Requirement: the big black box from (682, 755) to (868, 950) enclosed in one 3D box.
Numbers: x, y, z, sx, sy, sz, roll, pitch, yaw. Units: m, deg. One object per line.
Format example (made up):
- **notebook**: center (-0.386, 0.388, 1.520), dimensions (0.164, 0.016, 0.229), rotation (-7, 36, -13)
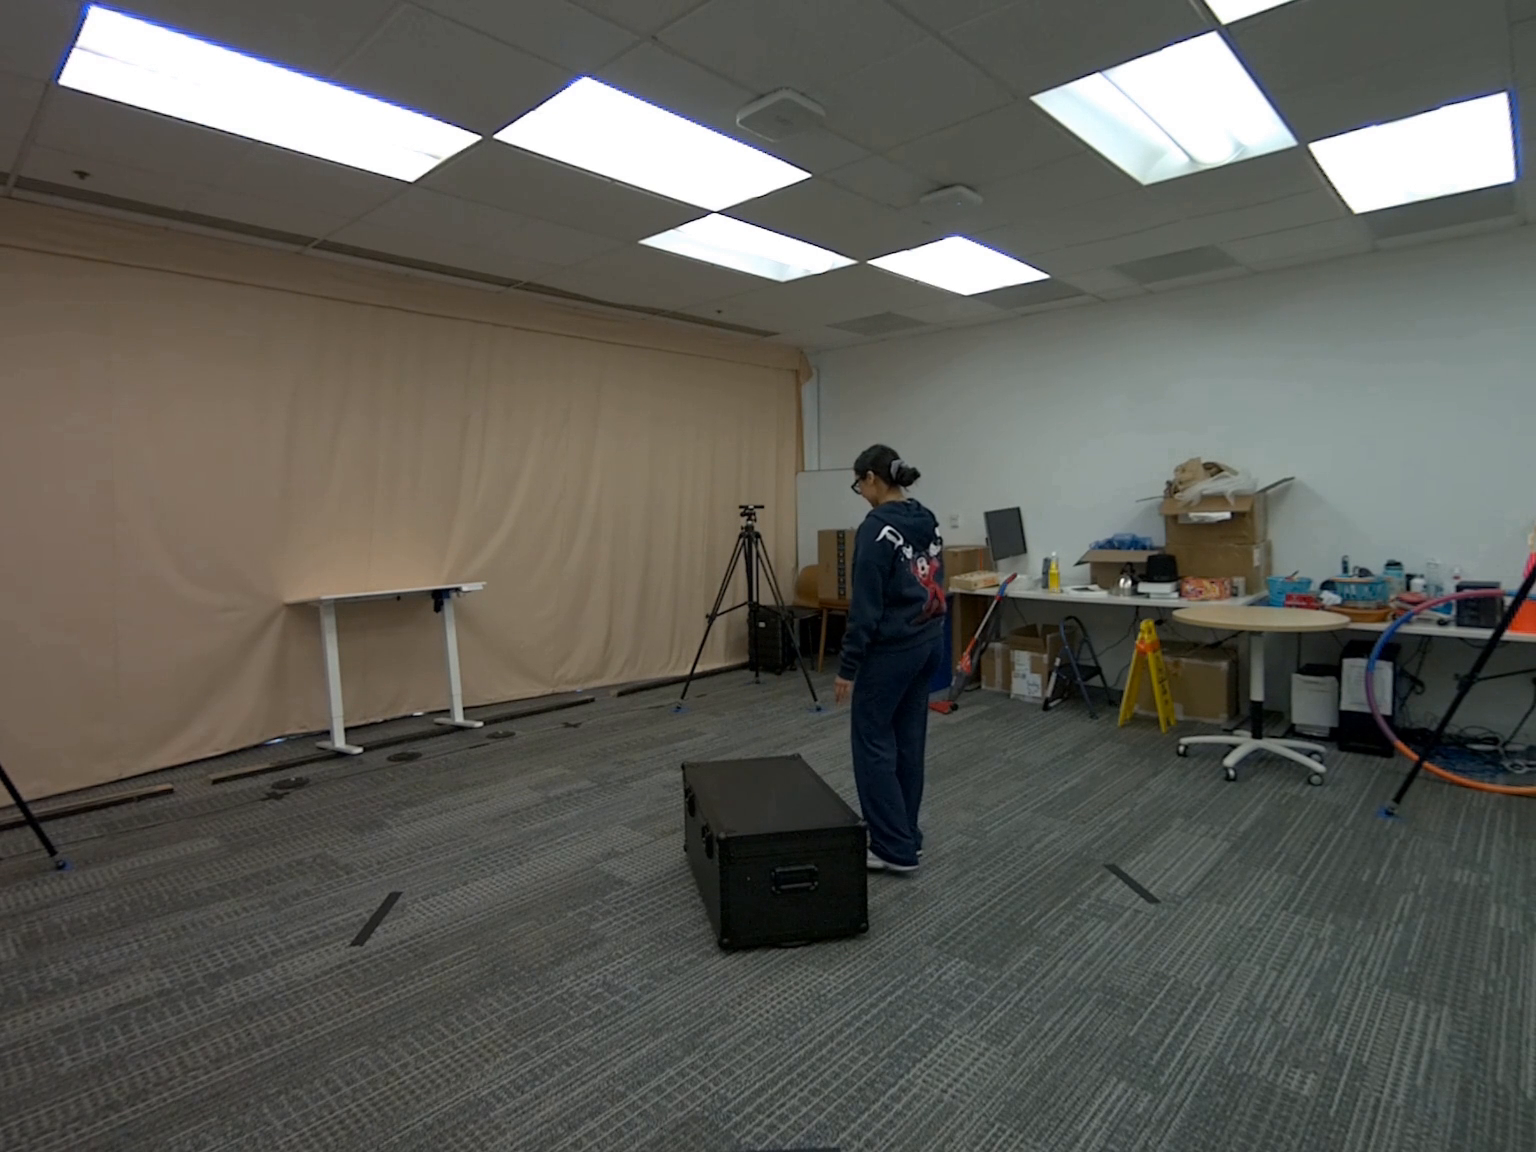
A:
- **big black box**: center (-0.014, 0.945, 3.041), dimensions (0.515, 0.395, 0.875), rotation (-2, 5, -13)
